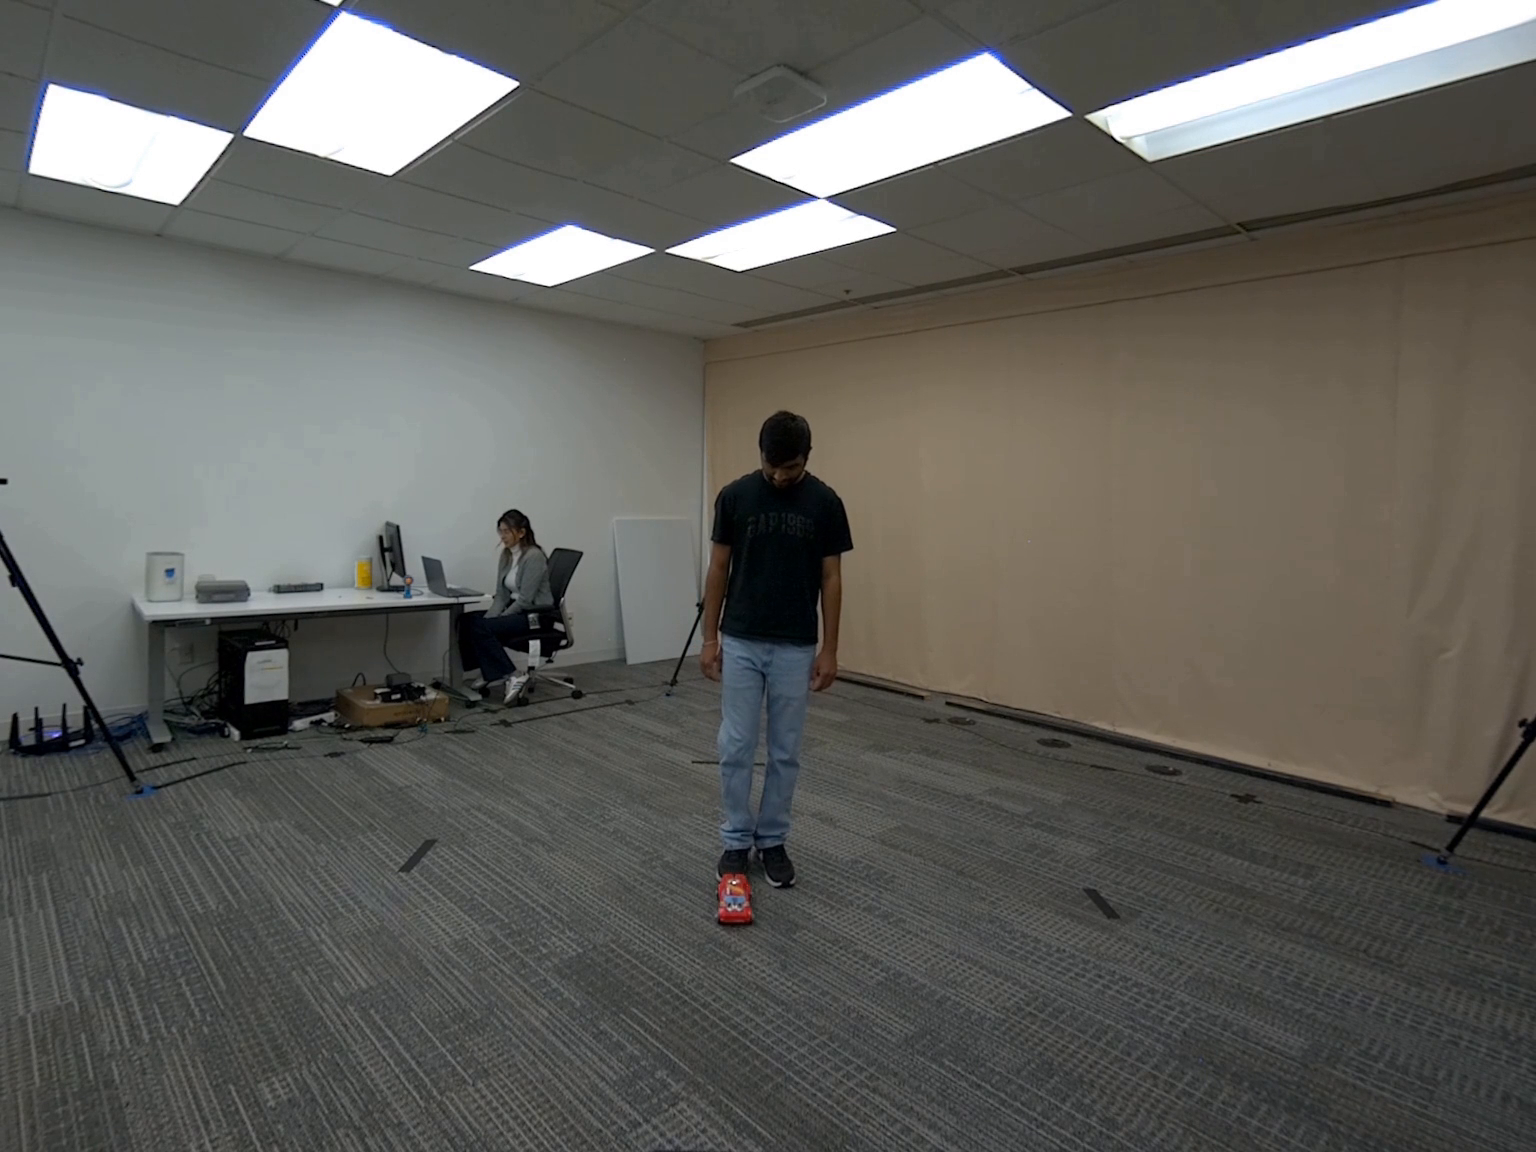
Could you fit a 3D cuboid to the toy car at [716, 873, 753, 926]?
[{"bbox_3d":[-0.126,1.095,2.846,0.130,0.082,0.258,1,19,-1],"label":"toy car"}]
